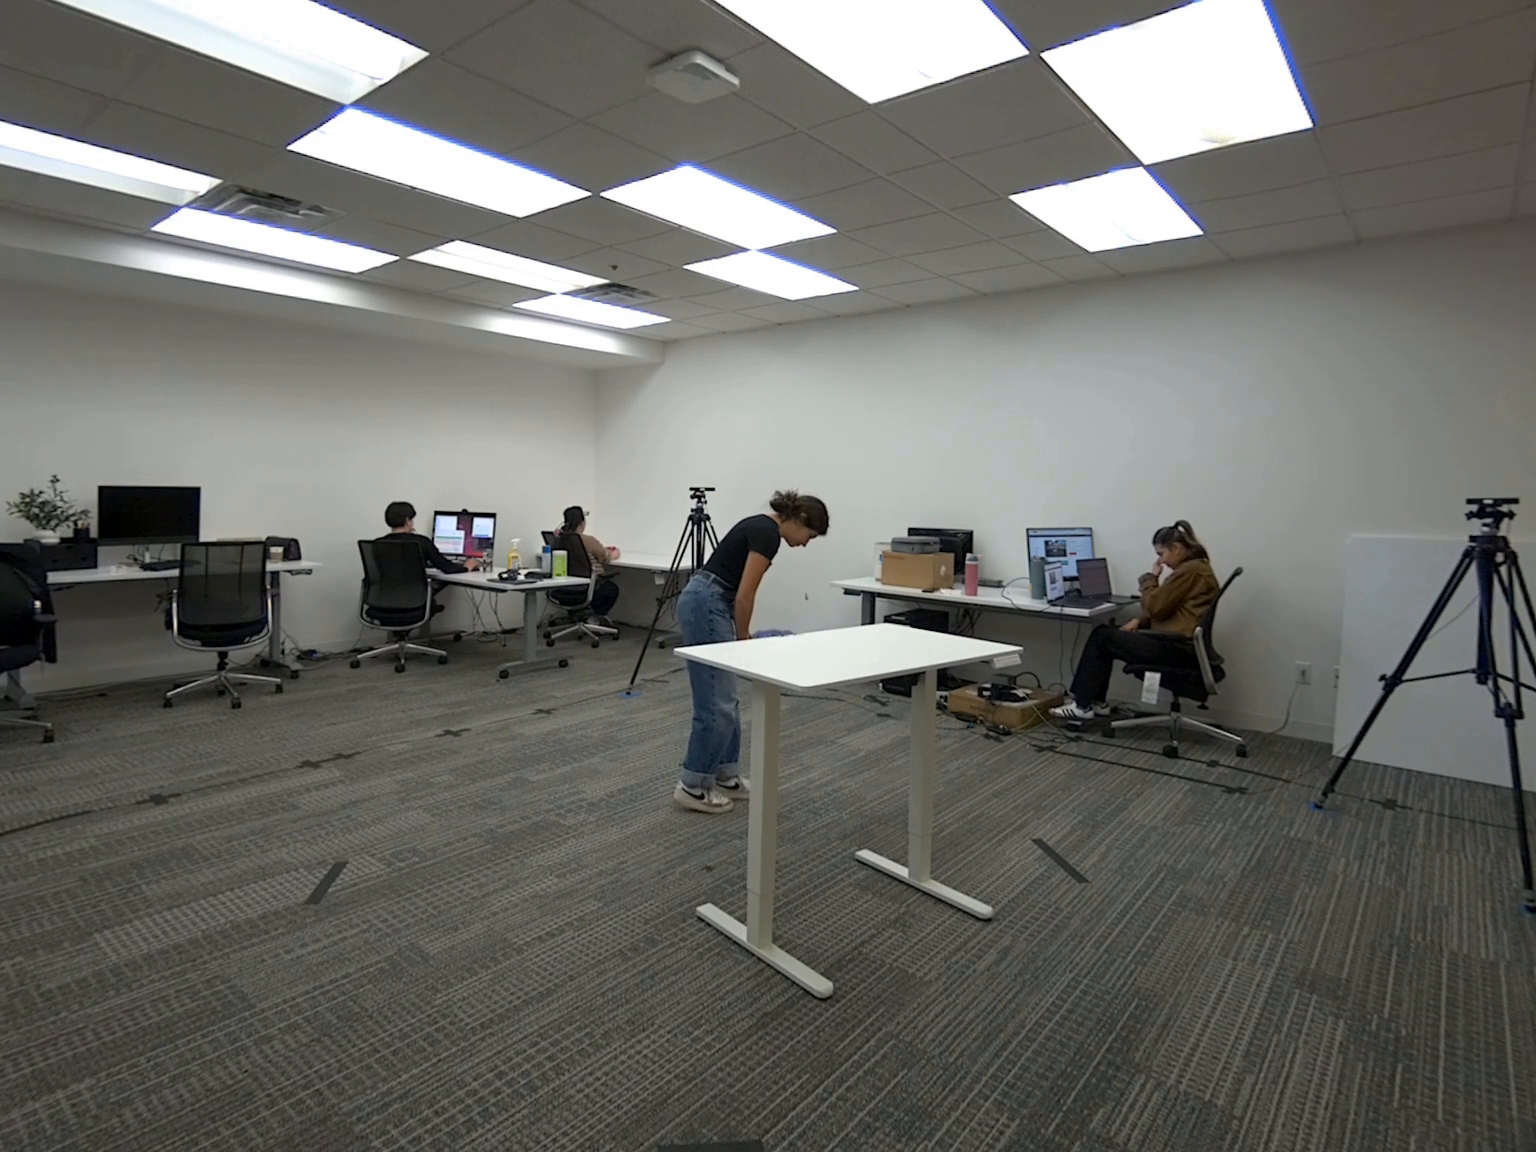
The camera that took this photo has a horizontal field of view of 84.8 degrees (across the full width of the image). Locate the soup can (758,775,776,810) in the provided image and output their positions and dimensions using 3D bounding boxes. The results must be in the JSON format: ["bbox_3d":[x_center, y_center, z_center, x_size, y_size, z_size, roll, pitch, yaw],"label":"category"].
[{"bbox_3d":[-0.006,0.953,3.711,0.067,0.121,0.067,3,6,-2],"label":"soup can"}]
